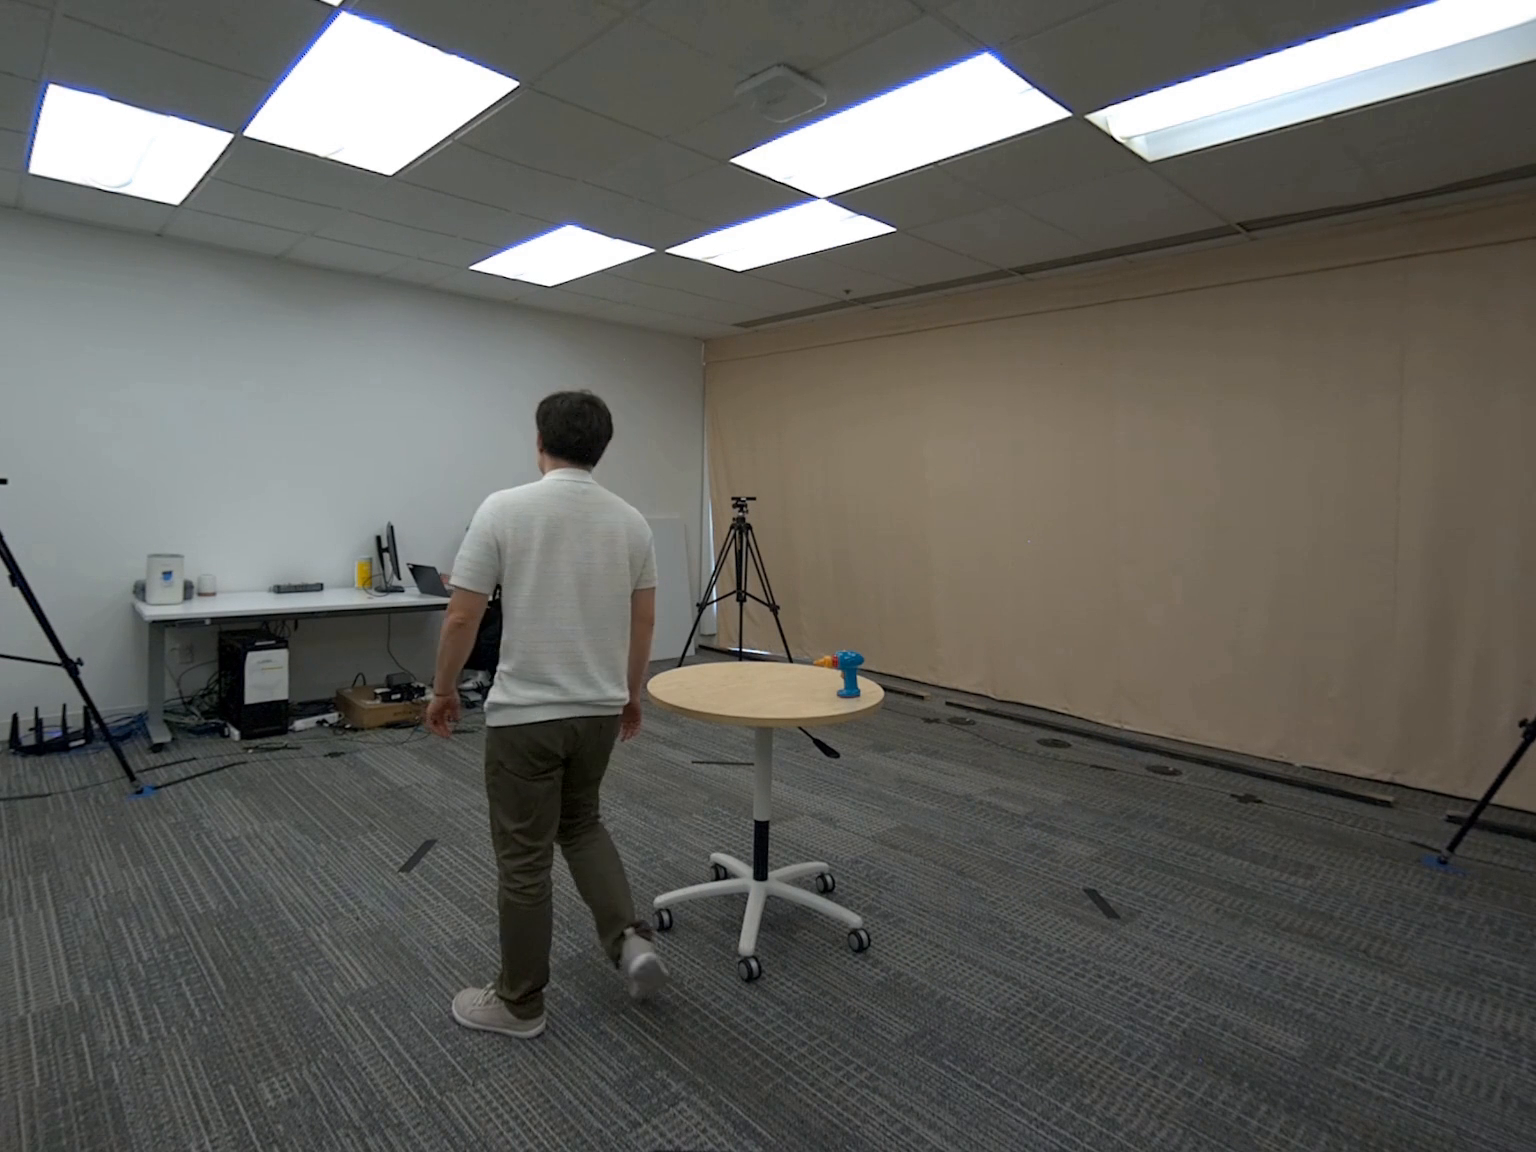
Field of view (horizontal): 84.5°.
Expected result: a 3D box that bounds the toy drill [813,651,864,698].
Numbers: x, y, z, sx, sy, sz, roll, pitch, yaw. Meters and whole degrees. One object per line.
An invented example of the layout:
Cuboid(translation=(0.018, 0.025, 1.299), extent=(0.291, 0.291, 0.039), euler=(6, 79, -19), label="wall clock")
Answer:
Cuboid(translation=(0.209, 0.303, 2.614), extent=(0.167, 0.146, 0.062), euler=(0, 3, -19), label="toy drill")
